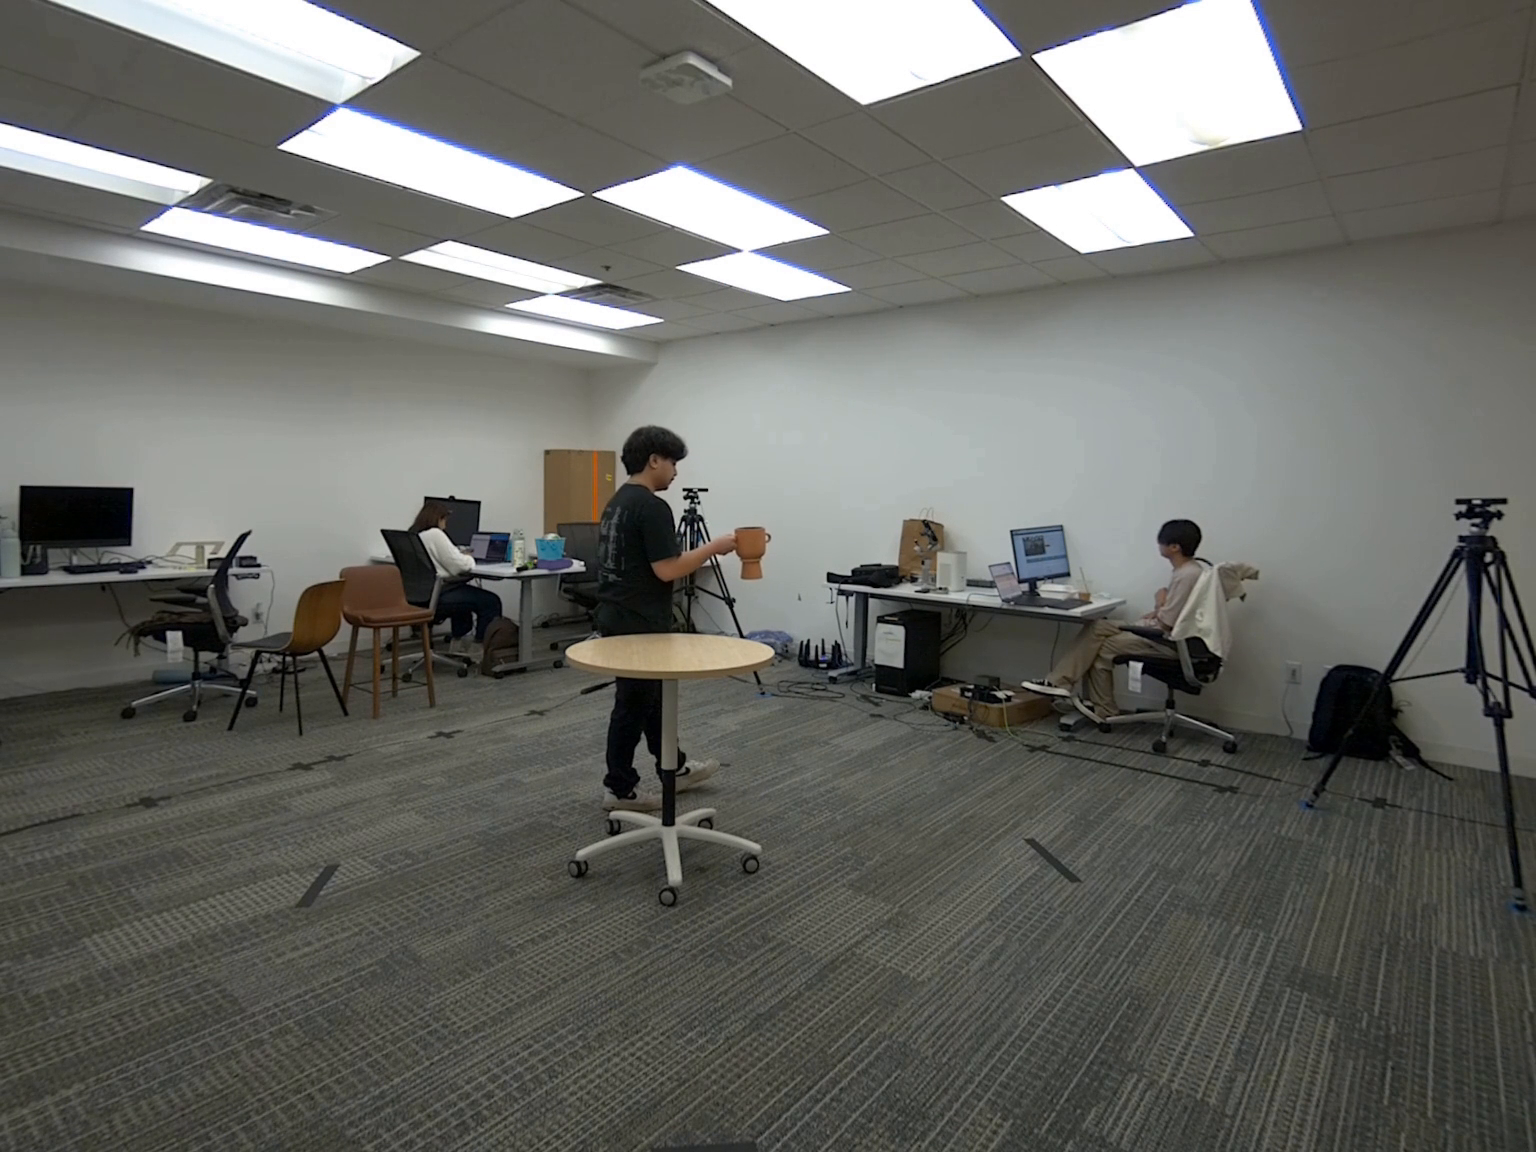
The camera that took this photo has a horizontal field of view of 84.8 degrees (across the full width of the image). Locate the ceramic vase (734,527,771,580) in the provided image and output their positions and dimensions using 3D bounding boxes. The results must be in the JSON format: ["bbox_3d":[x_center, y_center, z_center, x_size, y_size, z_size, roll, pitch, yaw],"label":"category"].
[{"bbox_3d":[-0.089,-0.104,3.713,0.162,0.218,0.133,0,7,17],"label":"ceramic vase"}]
